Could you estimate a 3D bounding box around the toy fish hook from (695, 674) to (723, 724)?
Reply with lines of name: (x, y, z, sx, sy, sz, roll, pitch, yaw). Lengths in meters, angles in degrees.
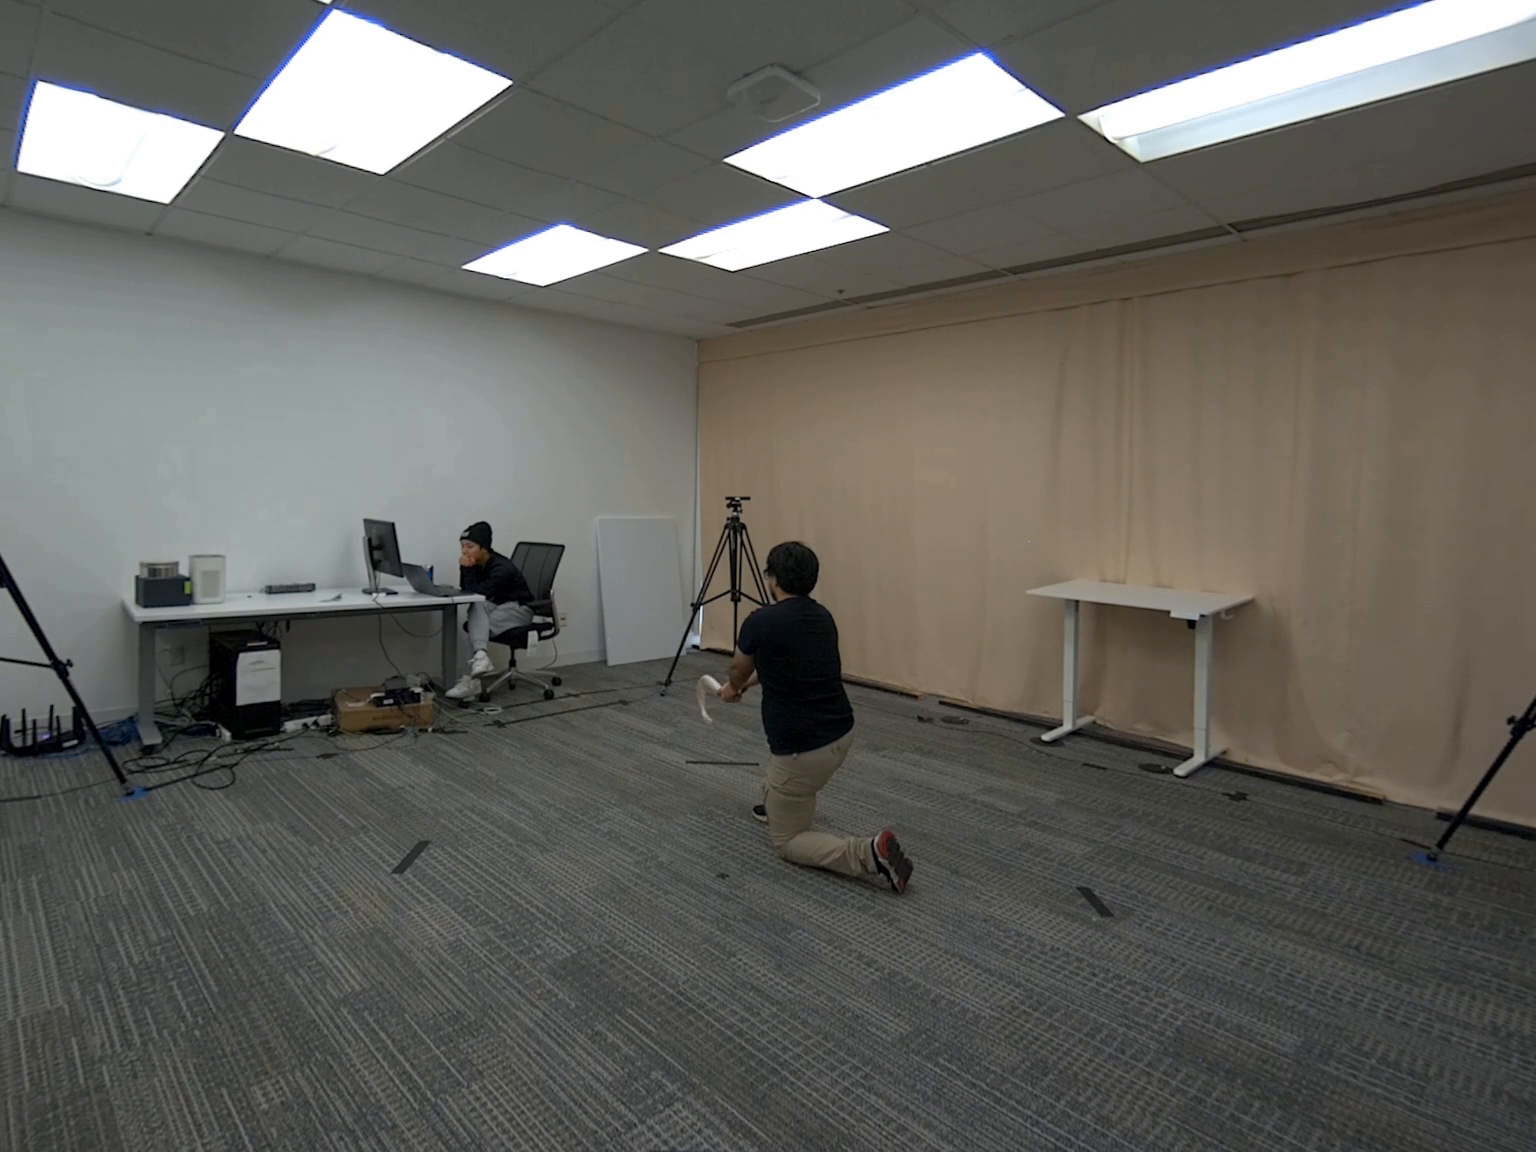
toy fish hook: (-0.238, 0.572, 3.869, 0.047, 0.225, 0.513, -1, -2, -22)
